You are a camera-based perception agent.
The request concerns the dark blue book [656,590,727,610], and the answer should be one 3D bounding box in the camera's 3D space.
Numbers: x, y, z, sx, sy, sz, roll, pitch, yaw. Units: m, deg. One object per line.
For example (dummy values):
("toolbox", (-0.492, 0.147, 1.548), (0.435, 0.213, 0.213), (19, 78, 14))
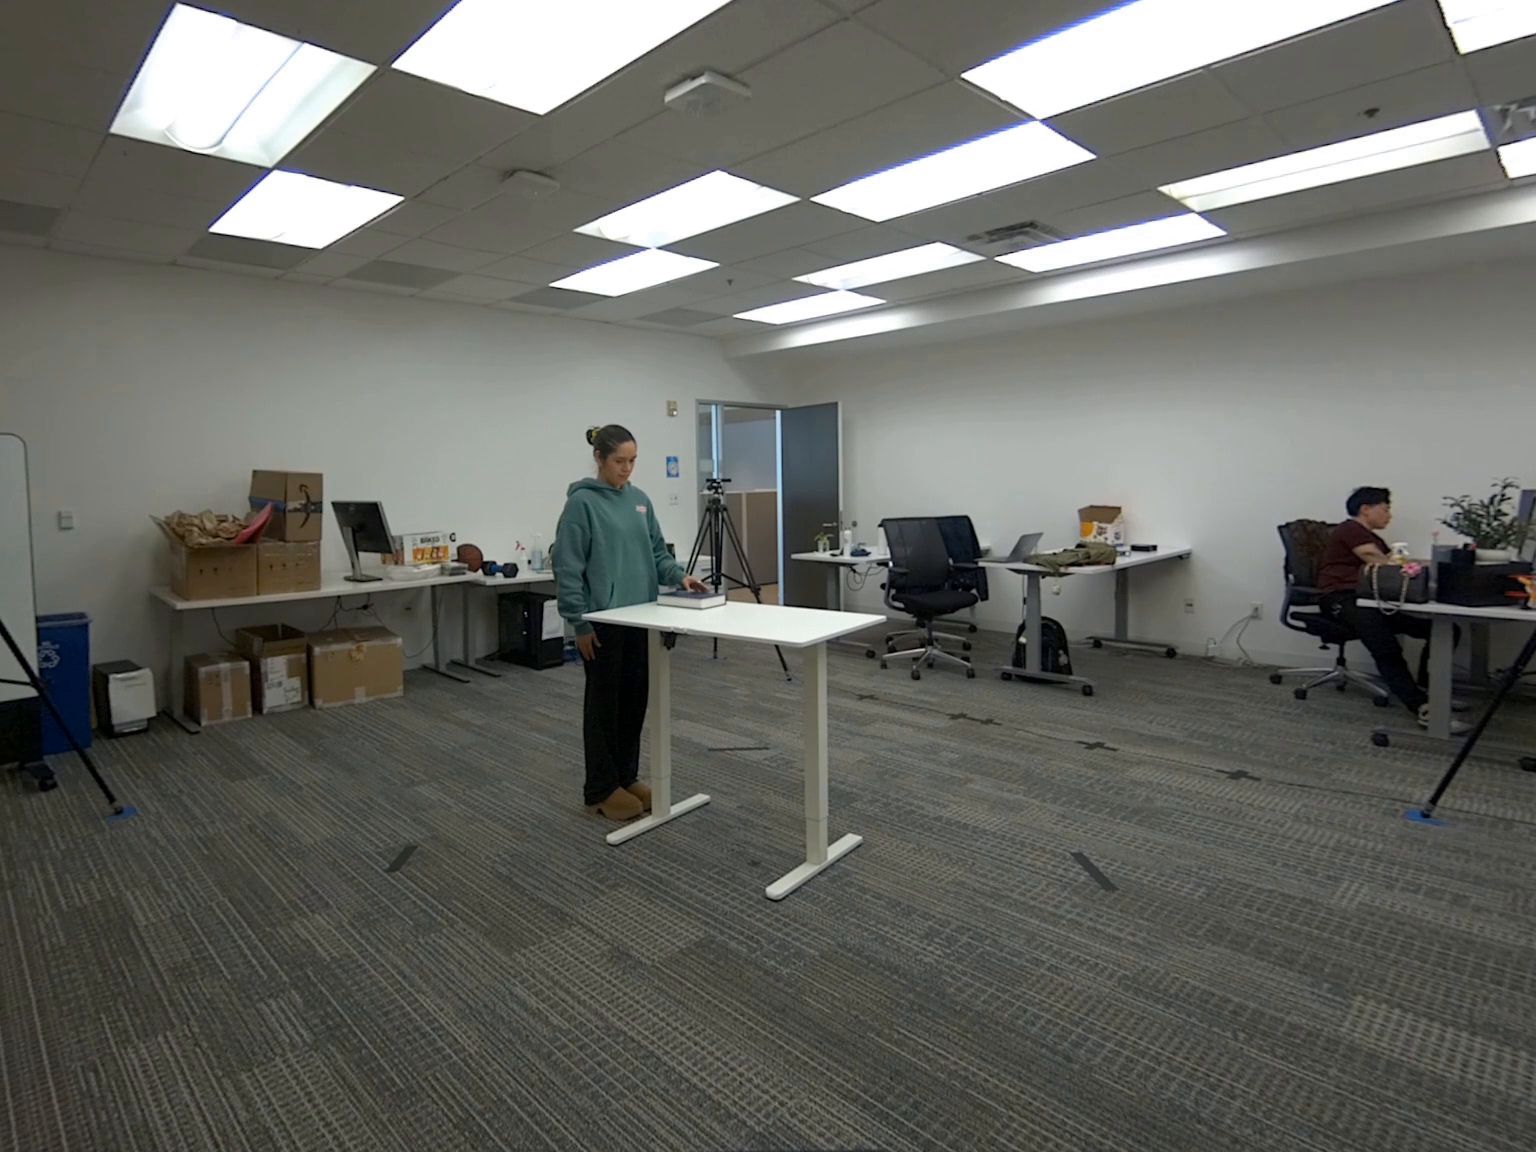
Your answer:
("dark blue book", (-0.311, 0.099, 3.516), (0.252, 0.045, 0.159), (3, 6, 33))
